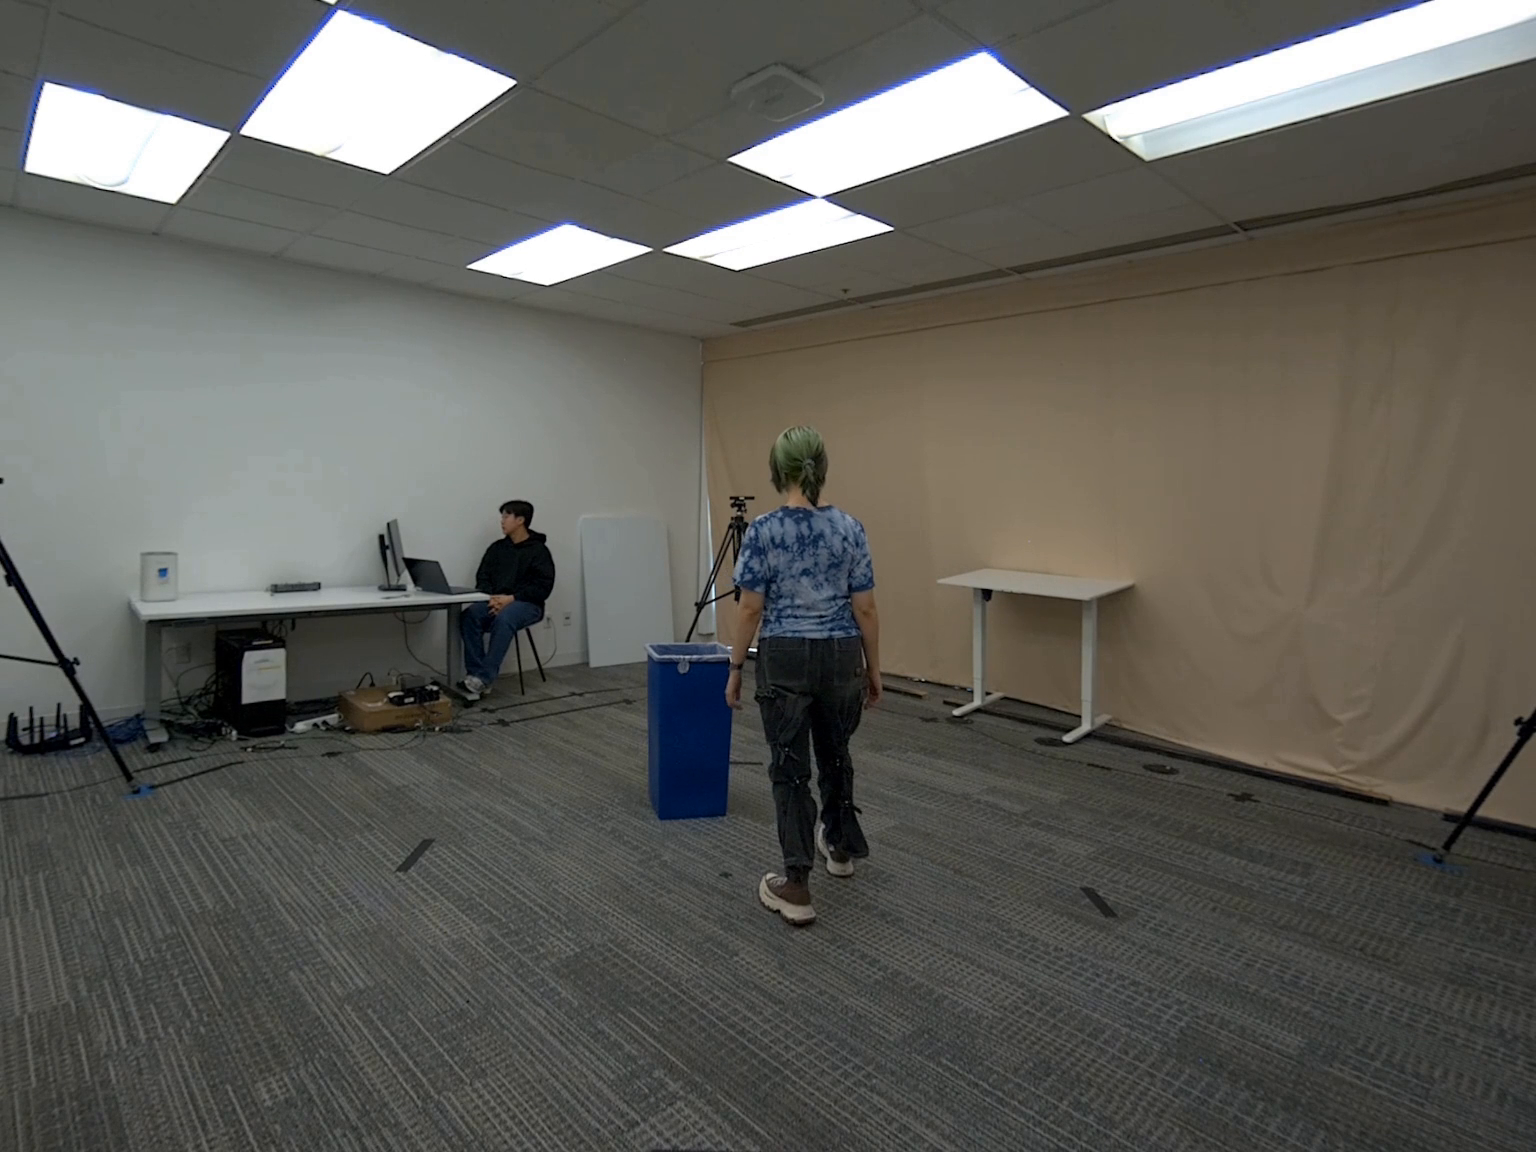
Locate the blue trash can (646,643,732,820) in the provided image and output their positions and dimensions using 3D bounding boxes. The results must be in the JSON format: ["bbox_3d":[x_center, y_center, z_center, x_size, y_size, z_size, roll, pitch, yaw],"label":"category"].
[{"bbox_3d":[-0.371,0.683,3.789,0.373,0.712,0.379,1,3,-15],"label":"blue trash can"}]
